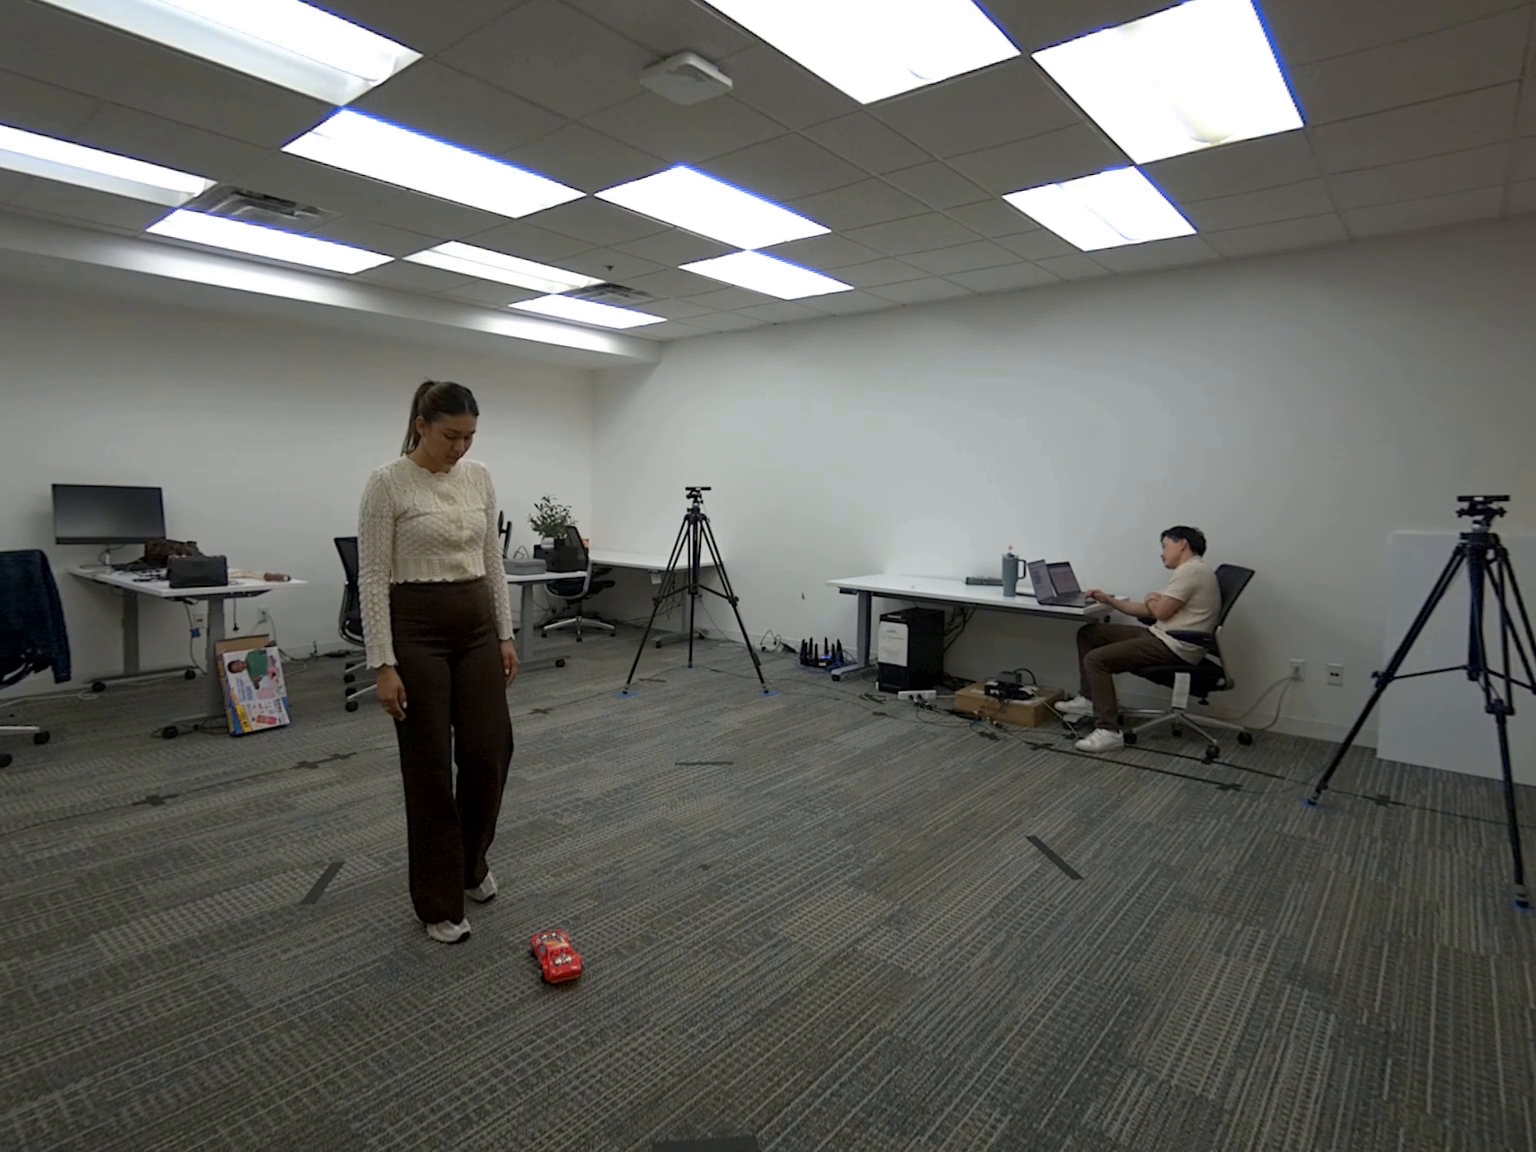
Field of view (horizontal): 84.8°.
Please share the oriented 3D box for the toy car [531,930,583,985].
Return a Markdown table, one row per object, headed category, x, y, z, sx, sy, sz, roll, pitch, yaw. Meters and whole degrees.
| category | x | y | z | sx | sy | sz | roll | pitch | yaw |
| --- | --- | --- | --- | --- | --- | --- | --- | --- | --- |
| toy car | -0.616 | 1.096 | 2.440 | 0.127 | 0.084 | 0.259 | -2 | -5 | -27 |
